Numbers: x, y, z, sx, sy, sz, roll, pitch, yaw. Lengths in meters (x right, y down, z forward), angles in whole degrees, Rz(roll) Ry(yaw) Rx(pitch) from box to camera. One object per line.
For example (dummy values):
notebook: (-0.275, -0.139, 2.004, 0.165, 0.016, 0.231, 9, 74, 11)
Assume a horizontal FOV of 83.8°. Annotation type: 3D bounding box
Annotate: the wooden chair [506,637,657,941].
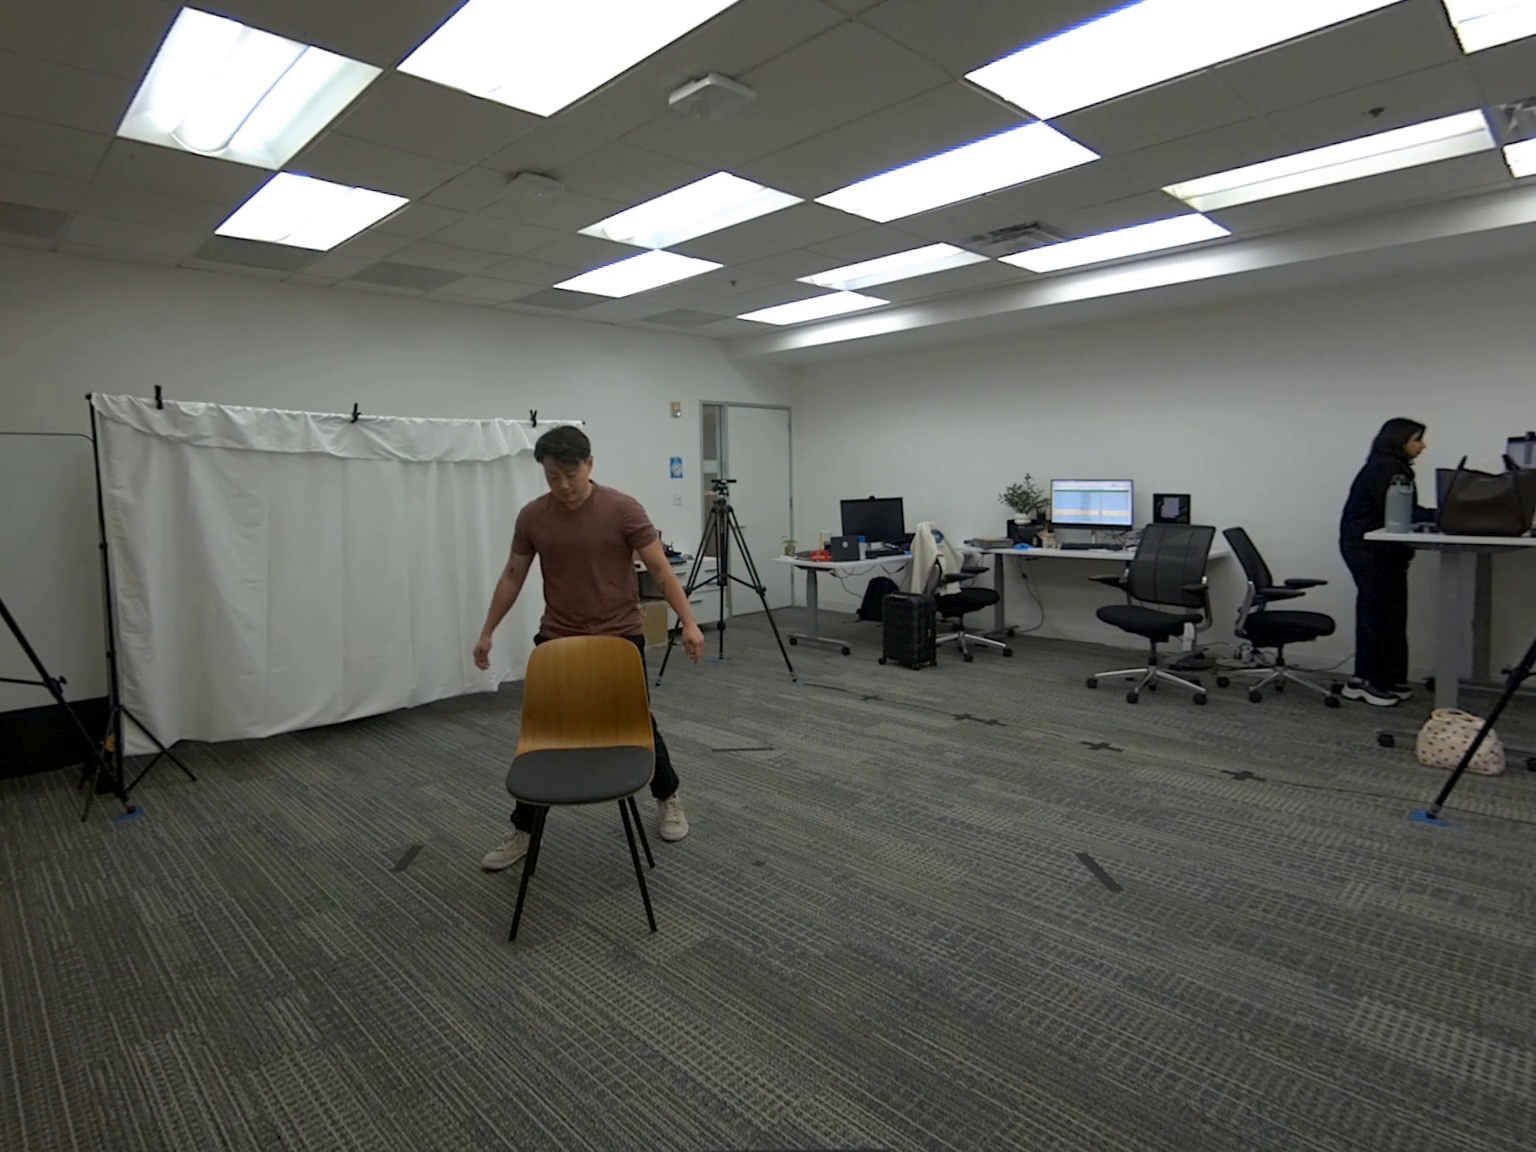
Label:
wooden chair: (-0.598, 0.664, 2.813, 0.475, 0.877, 0.526, -1, 0, -7)
